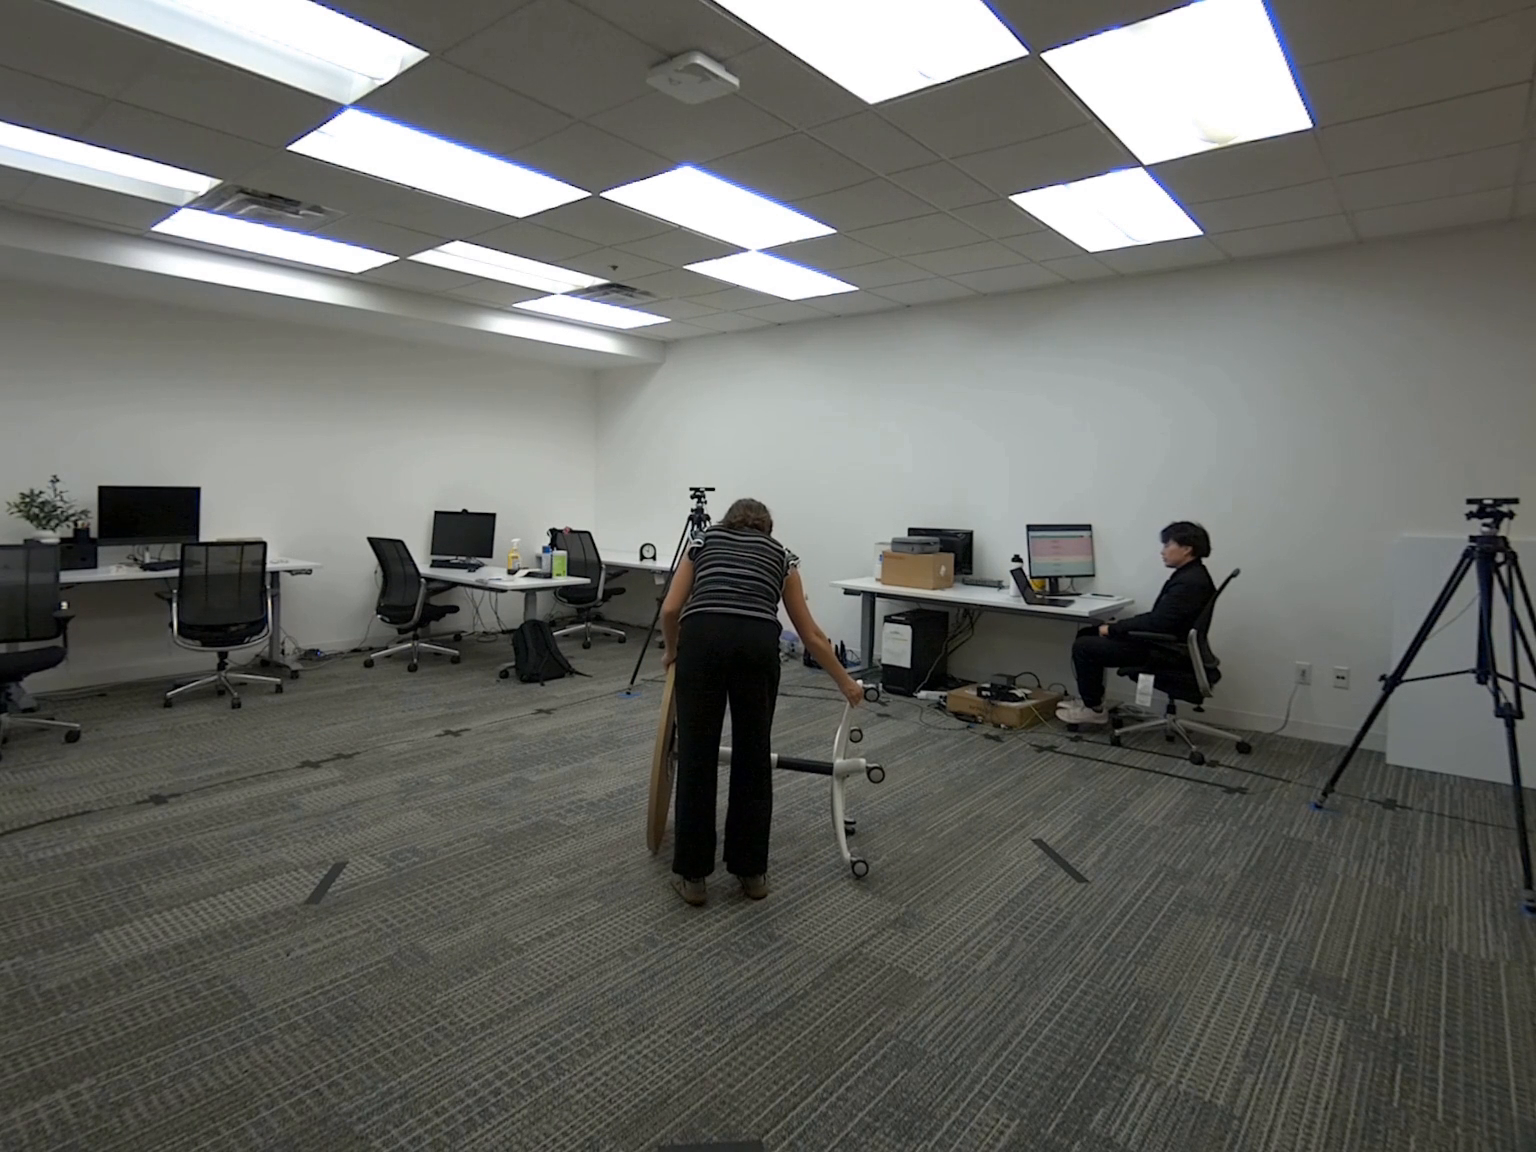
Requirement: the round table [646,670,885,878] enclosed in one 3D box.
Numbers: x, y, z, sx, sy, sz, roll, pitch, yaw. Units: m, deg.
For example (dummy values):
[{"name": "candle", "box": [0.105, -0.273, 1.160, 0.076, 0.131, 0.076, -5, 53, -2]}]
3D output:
[{"name": "round table", "box": [-0.009, 0.720, 3.291, 0.796, 0.762, 0.765, 7, 4, 1]}]
